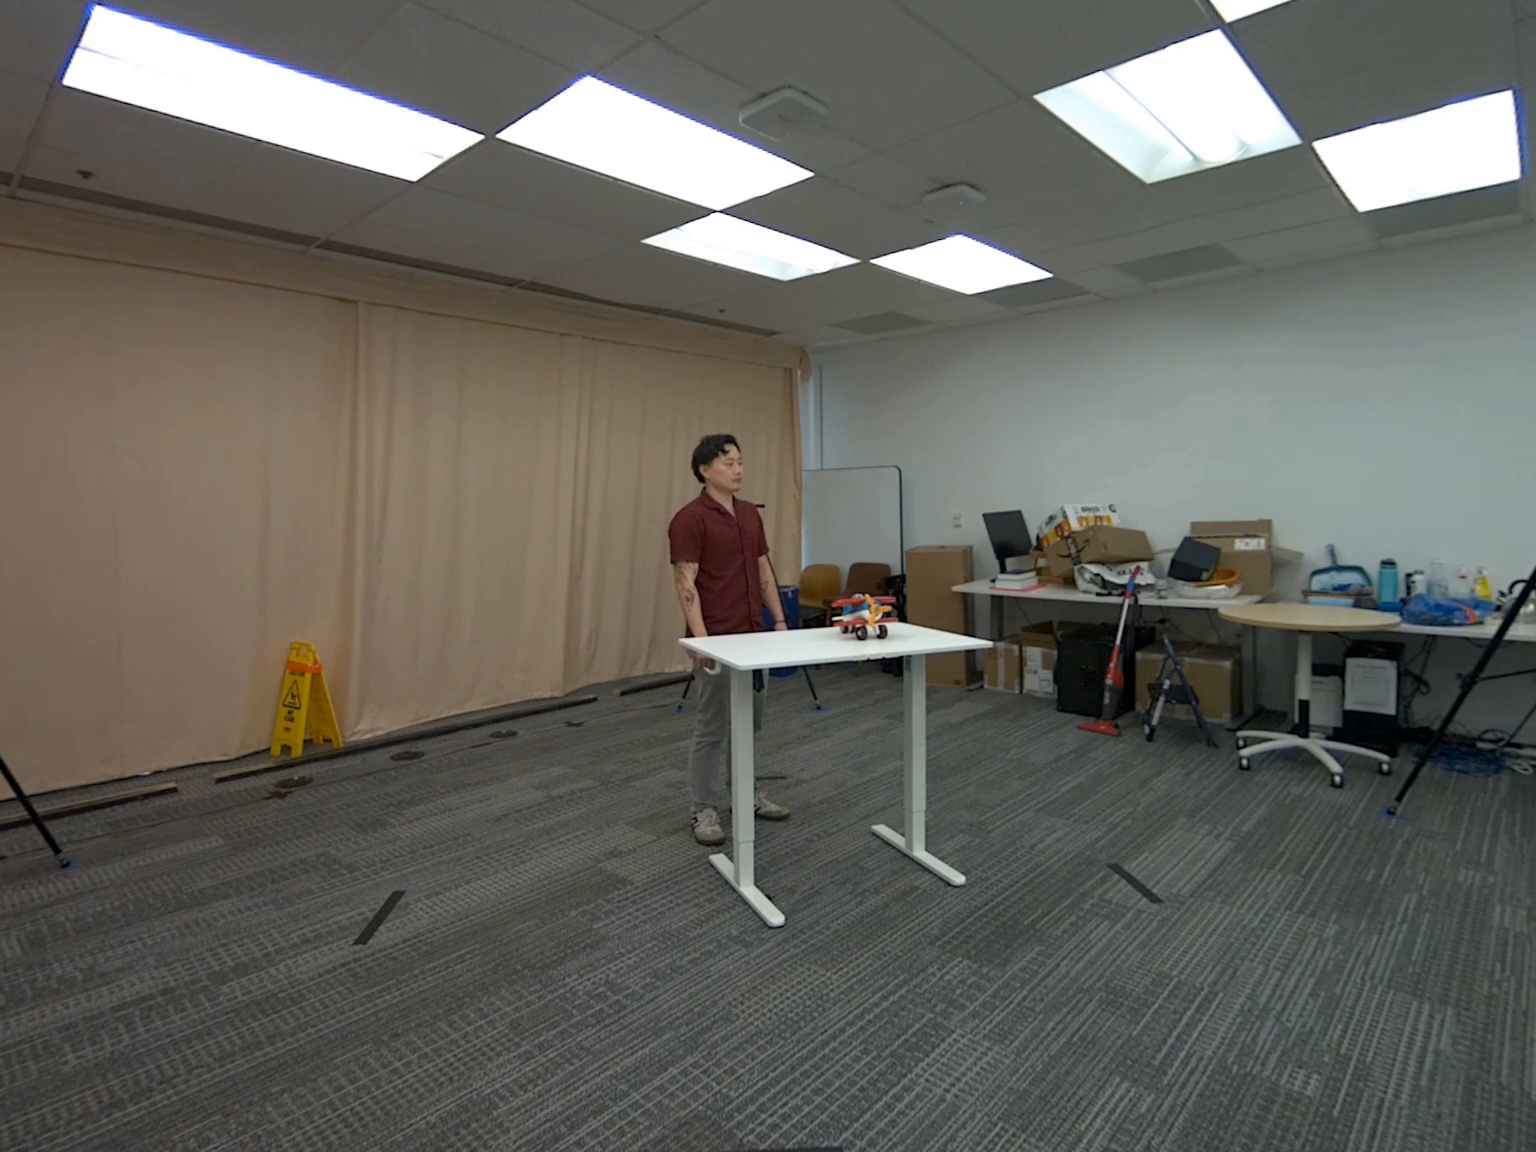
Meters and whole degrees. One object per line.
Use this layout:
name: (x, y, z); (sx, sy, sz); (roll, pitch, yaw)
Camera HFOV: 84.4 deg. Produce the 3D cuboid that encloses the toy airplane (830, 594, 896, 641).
toy airplane: (0.345, 0.155, 3.218); (0.268, 0.156, 0.243); (3, 6, 42)
